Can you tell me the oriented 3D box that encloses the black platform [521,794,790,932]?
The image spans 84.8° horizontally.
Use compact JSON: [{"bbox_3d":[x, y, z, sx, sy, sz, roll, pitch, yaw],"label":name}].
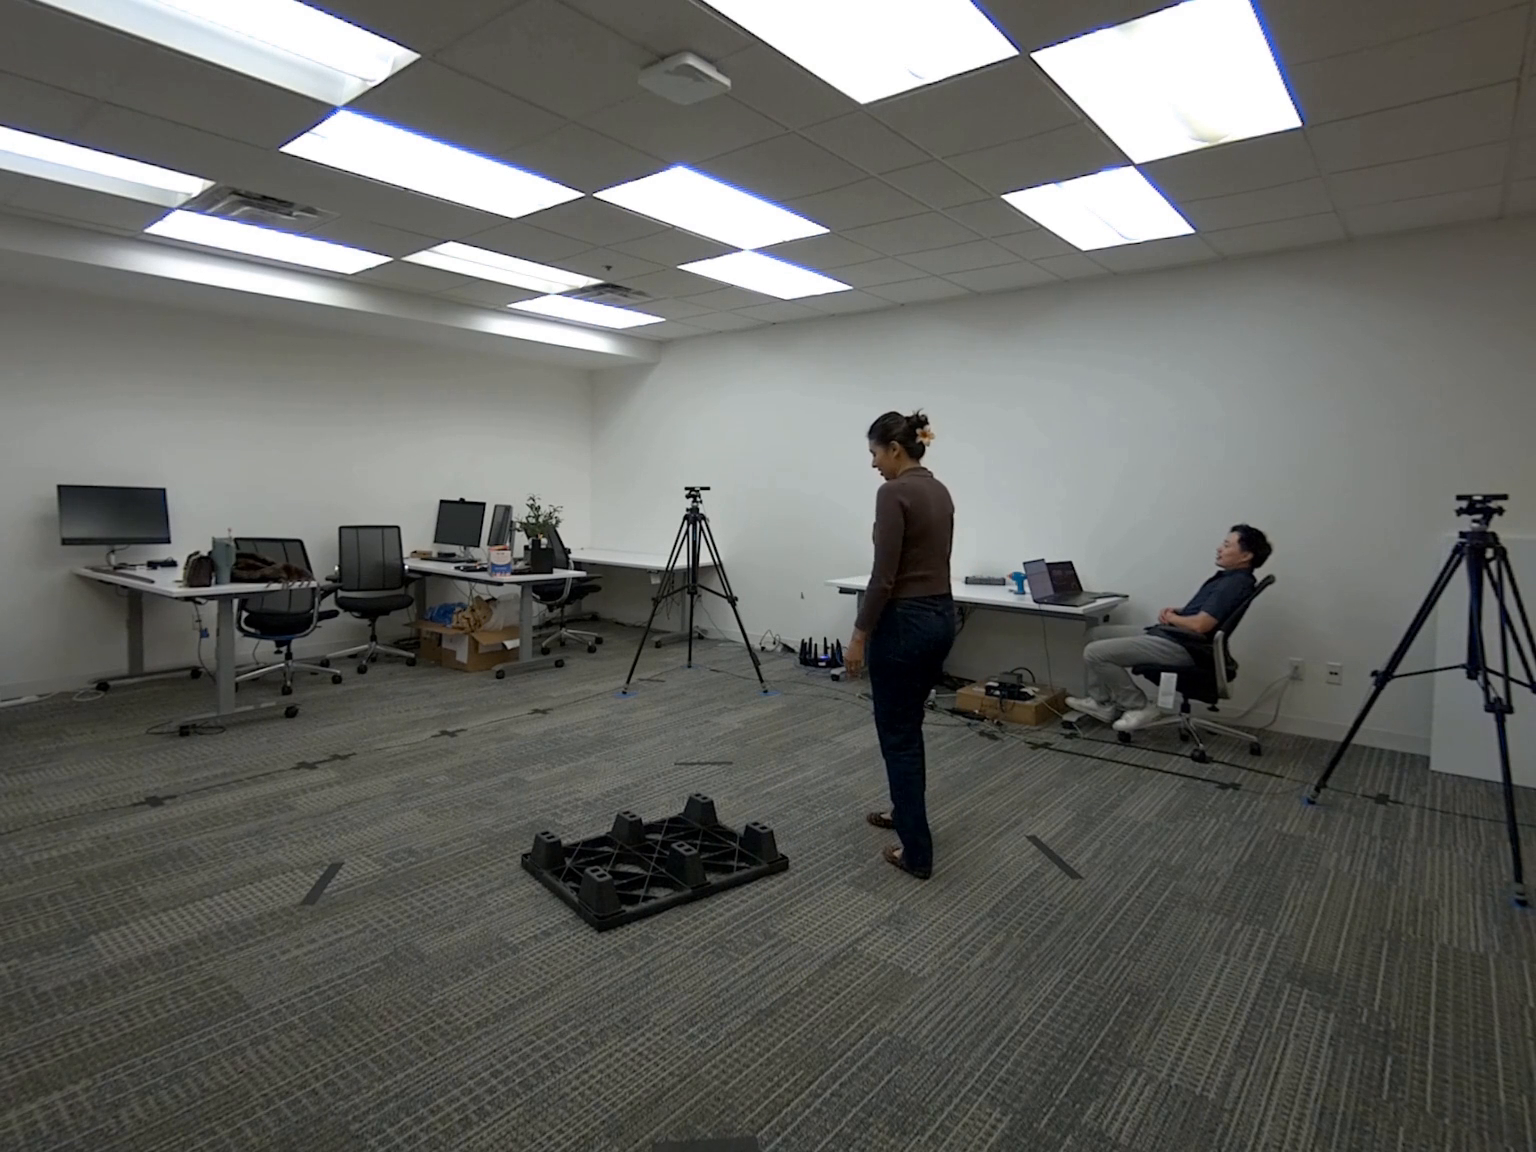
[{"bbox_3d":[-0.420,0.995,3.101,0.782,0.143,0.625,-4,7,-39],"label":"black platform"}]
